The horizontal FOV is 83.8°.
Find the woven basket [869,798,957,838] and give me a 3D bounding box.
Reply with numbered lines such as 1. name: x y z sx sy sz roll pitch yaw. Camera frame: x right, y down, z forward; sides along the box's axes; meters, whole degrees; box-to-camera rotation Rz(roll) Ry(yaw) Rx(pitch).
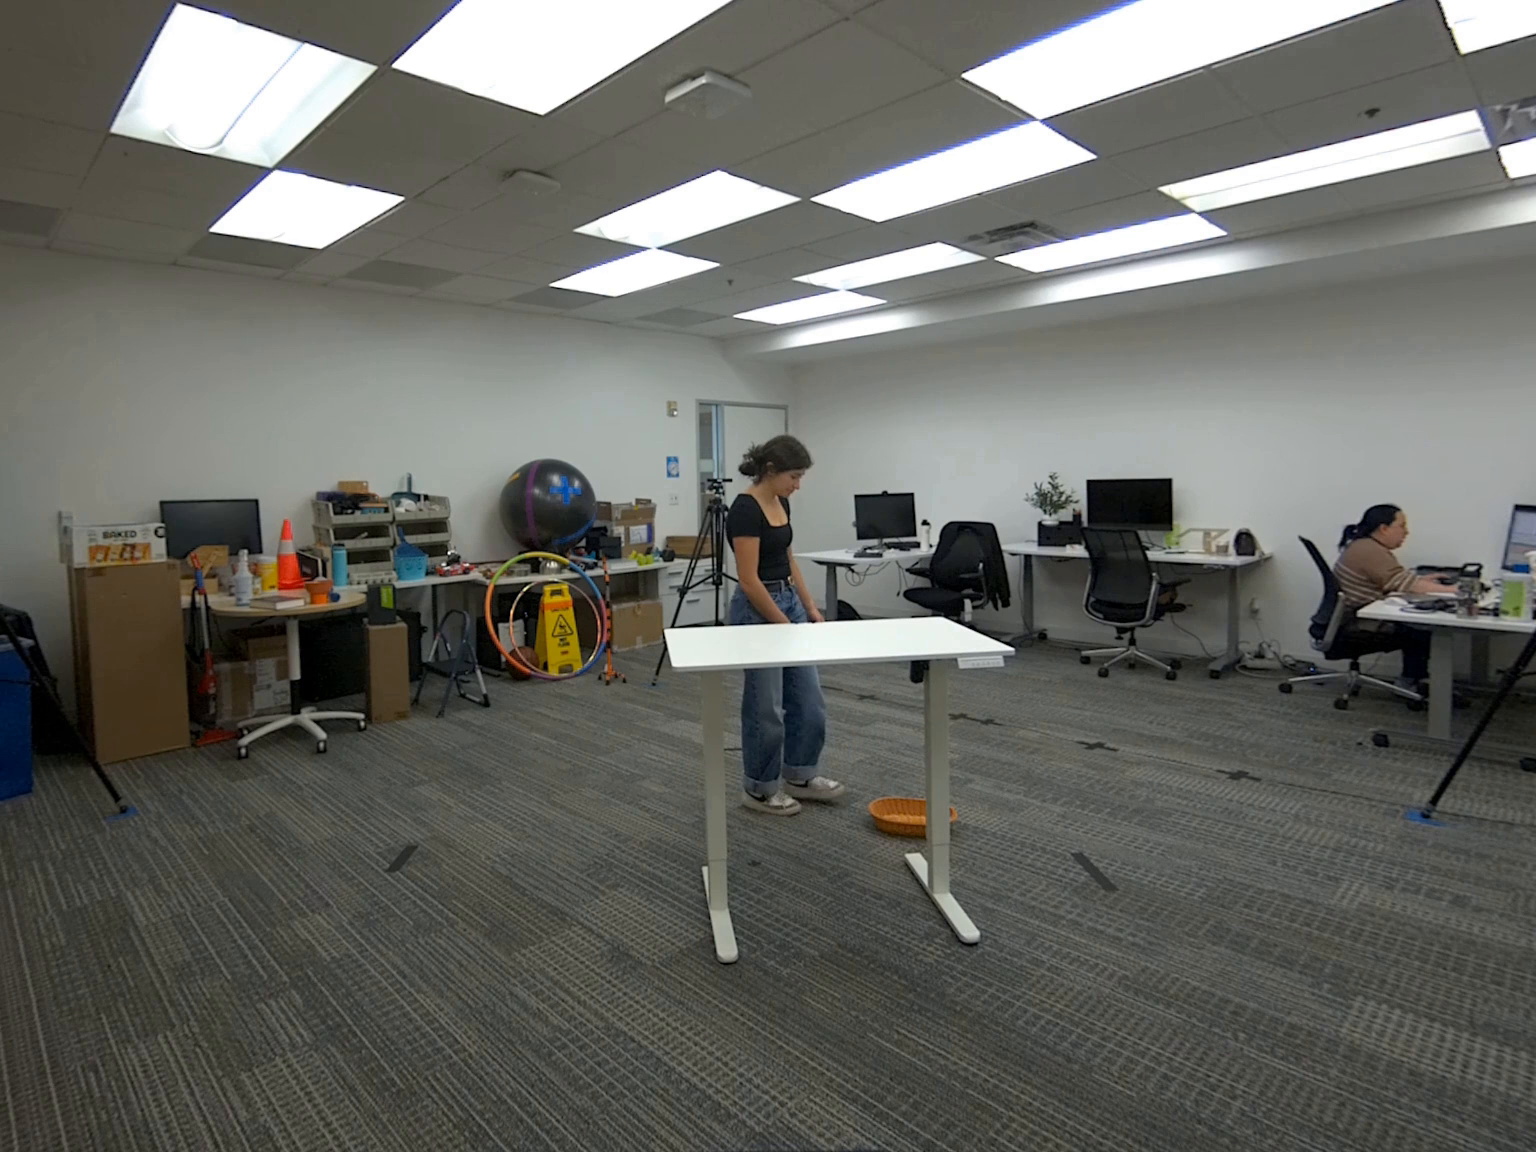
1. woven basket: 0.571 0.962 3.403 0.356 0.073 0.250 1 8 17
